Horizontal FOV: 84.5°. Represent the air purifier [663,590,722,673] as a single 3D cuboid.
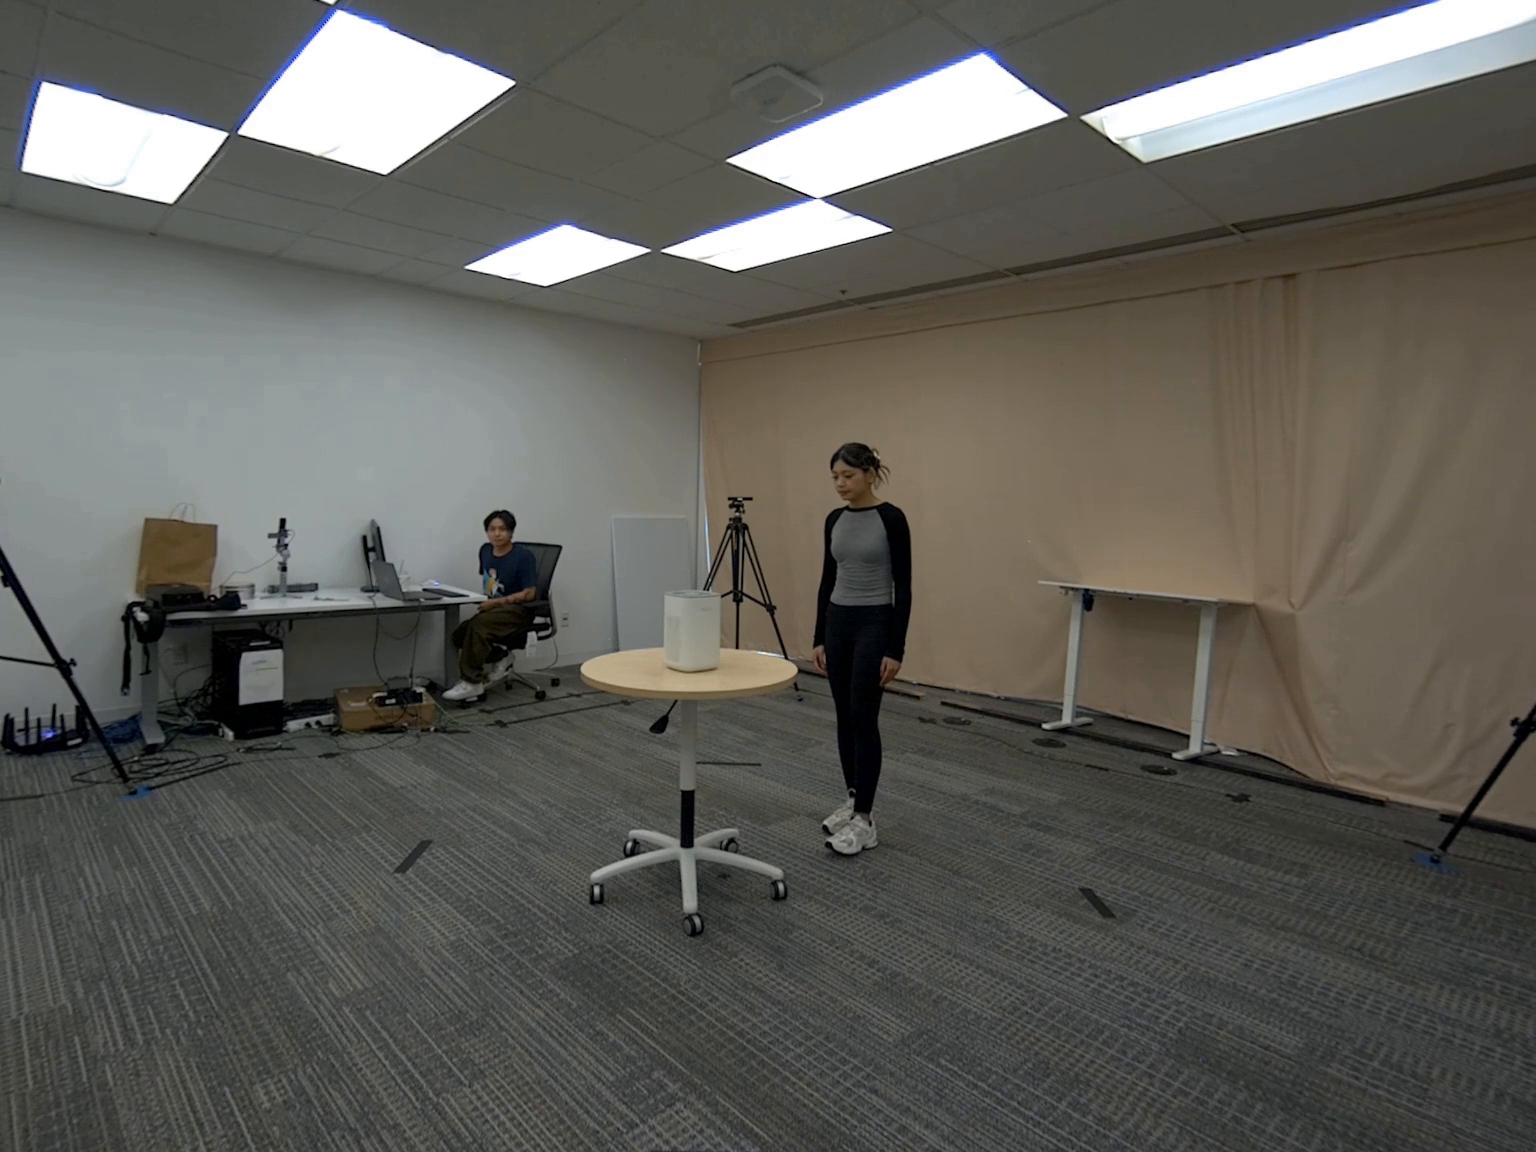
[{"bbox_3d":[-0.270,0.190,2.958,0.167,0.265,0.176,-2,5,-42],"label":"air purifier"}]
